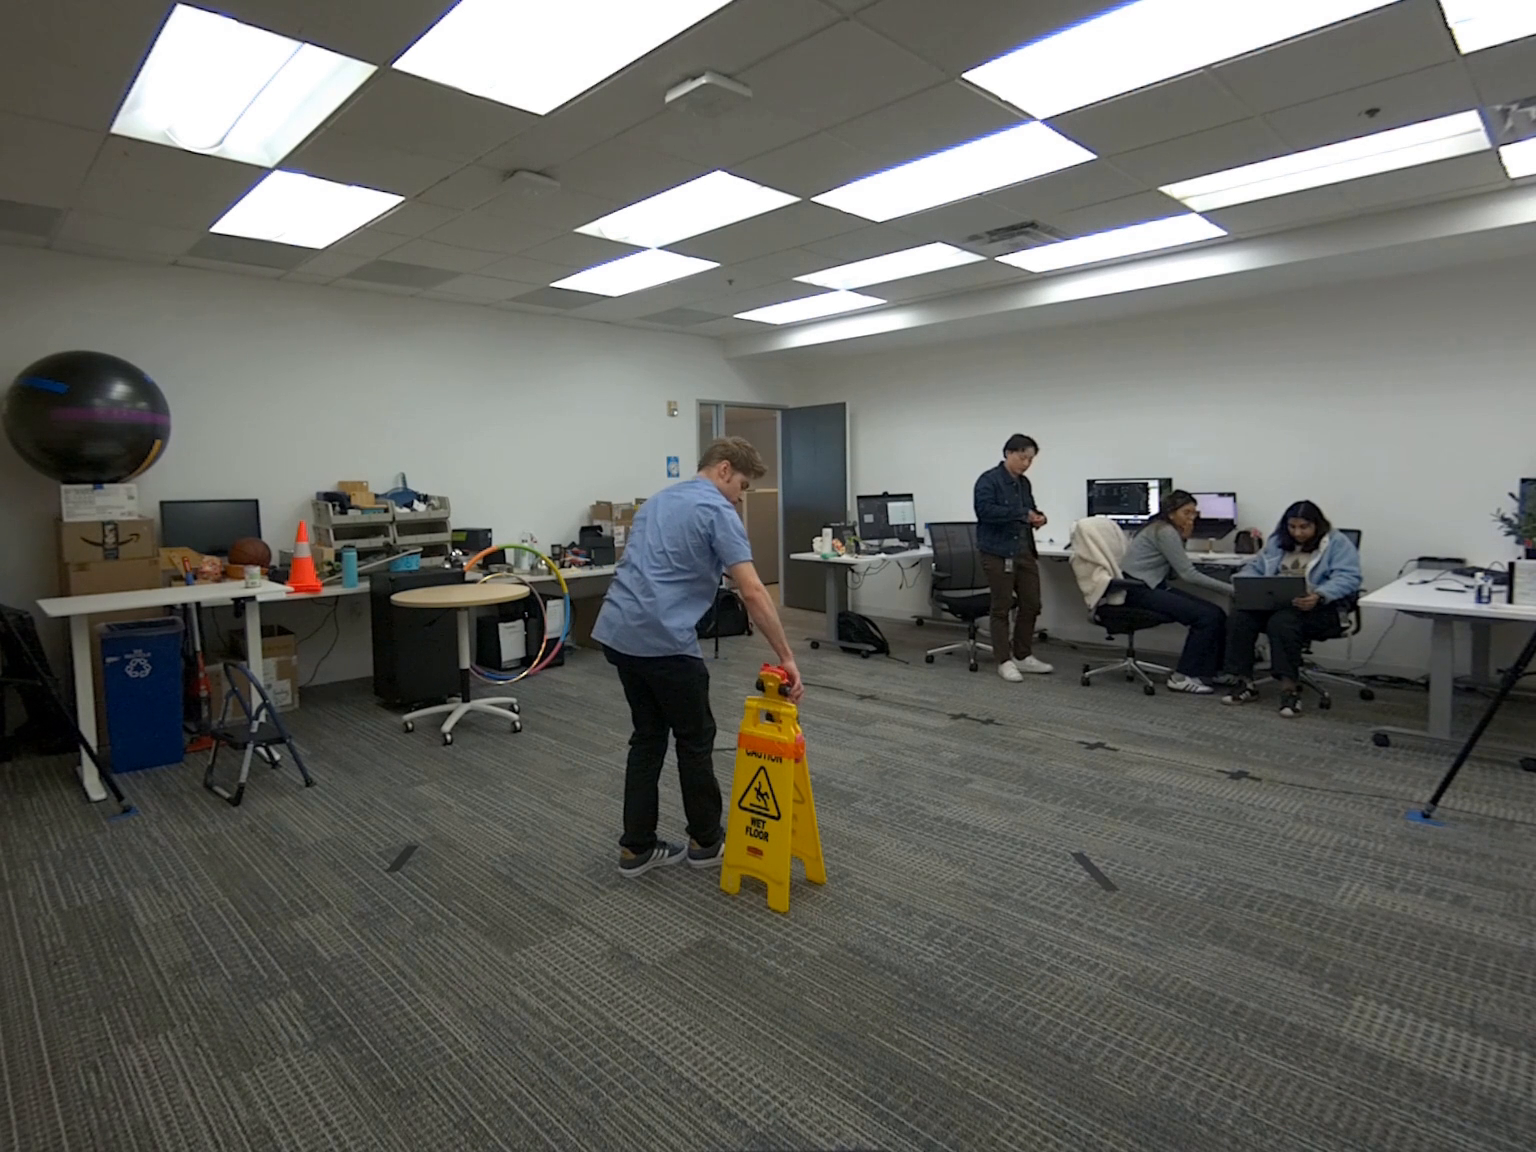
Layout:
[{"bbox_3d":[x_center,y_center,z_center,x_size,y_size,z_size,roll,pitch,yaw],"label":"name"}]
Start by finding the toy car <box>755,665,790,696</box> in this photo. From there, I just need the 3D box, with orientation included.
[{"bbox_3d":[0.030,0.409,2.895,0.134,0.250,0.082,6,23,36],"label":"toy car"}]
